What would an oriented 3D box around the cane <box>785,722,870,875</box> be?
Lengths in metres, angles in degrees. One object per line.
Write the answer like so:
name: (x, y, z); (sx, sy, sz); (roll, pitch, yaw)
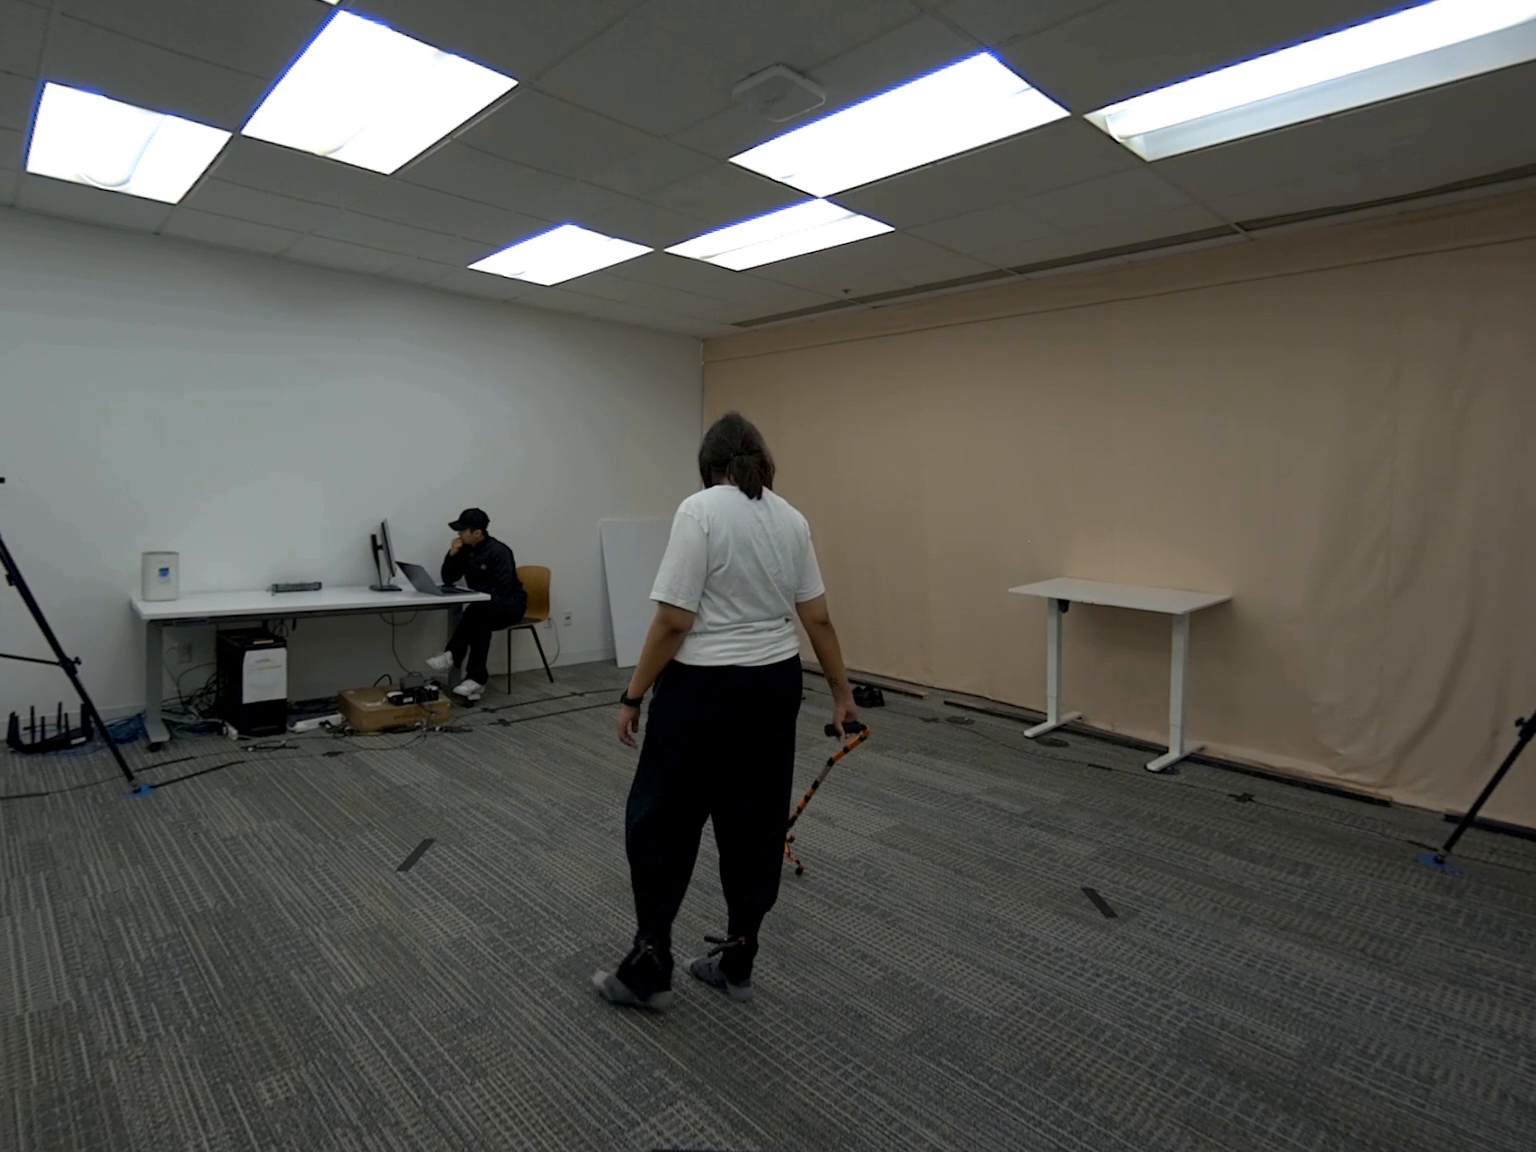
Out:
cane: (0.138, 0.754, 2.823); (0.203, 0.156, 0.897); (0, -42, -22)
